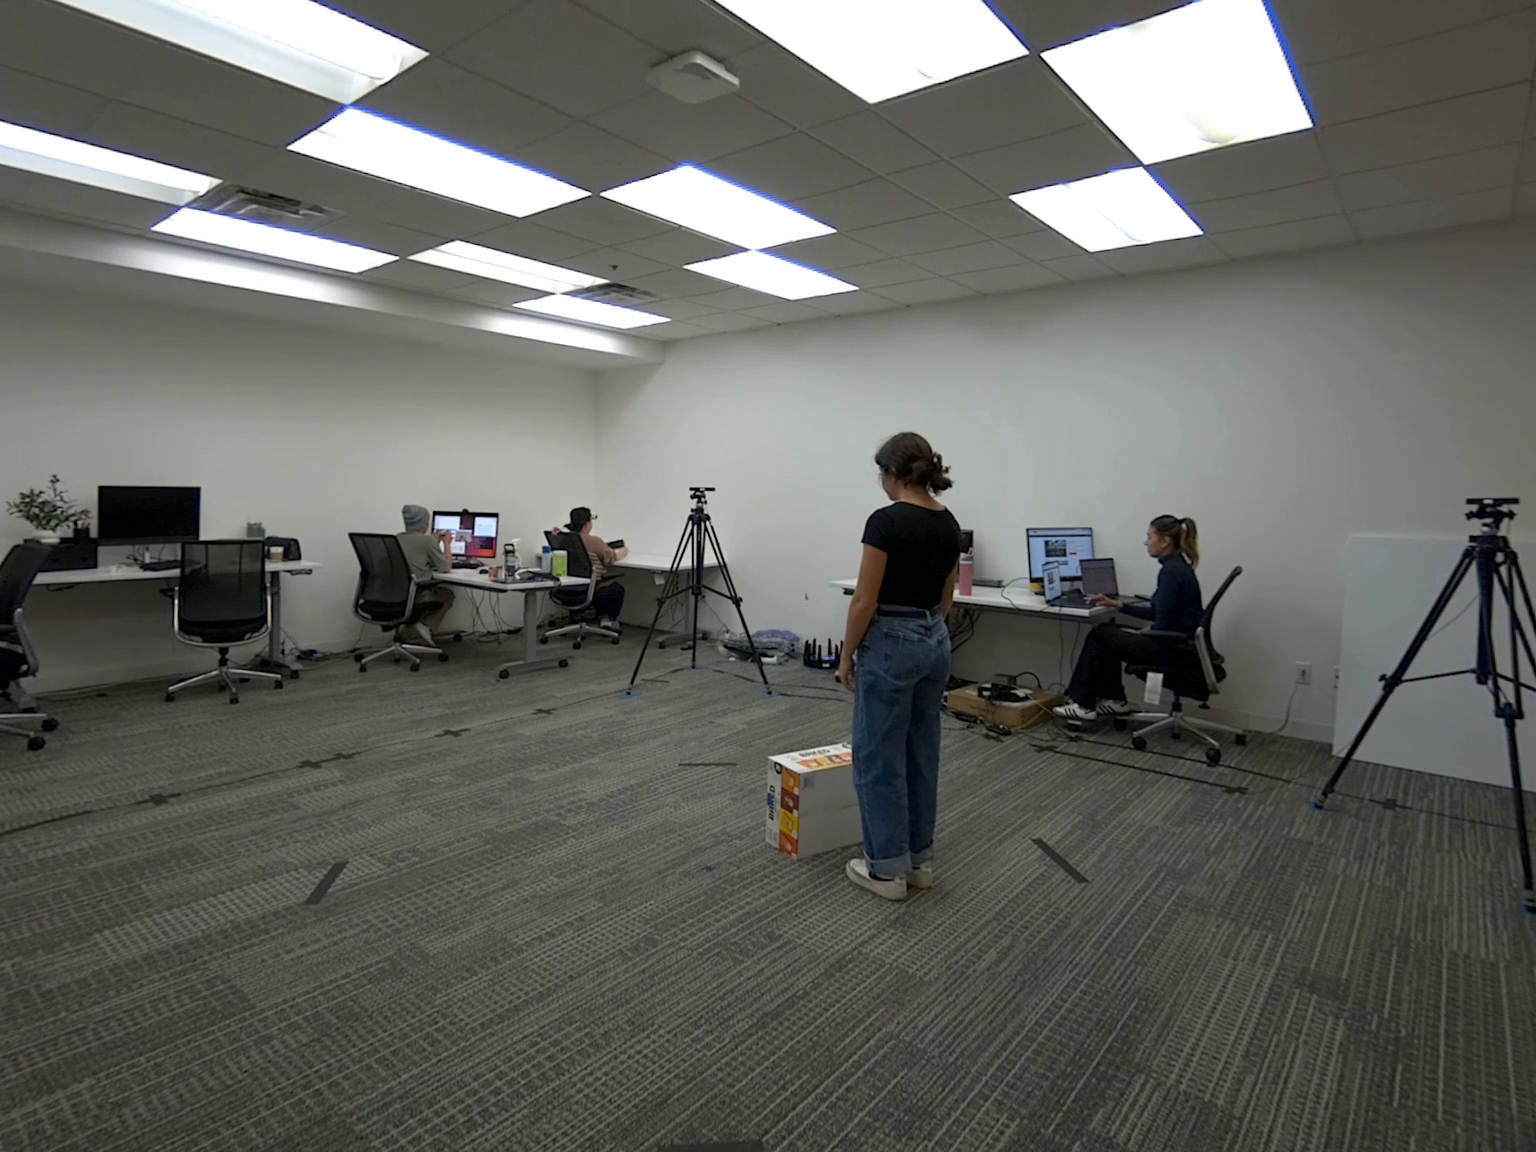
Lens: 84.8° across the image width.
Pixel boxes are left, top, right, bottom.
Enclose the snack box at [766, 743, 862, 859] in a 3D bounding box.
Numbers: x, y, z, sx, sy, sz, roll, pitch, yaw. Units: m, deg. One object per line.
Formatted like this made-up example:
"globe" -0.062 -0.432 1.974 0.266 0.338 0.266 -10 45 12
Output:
"snack box" 0.206 0.881 3.372 0.393 0.339 0.212 -2 6 -34
